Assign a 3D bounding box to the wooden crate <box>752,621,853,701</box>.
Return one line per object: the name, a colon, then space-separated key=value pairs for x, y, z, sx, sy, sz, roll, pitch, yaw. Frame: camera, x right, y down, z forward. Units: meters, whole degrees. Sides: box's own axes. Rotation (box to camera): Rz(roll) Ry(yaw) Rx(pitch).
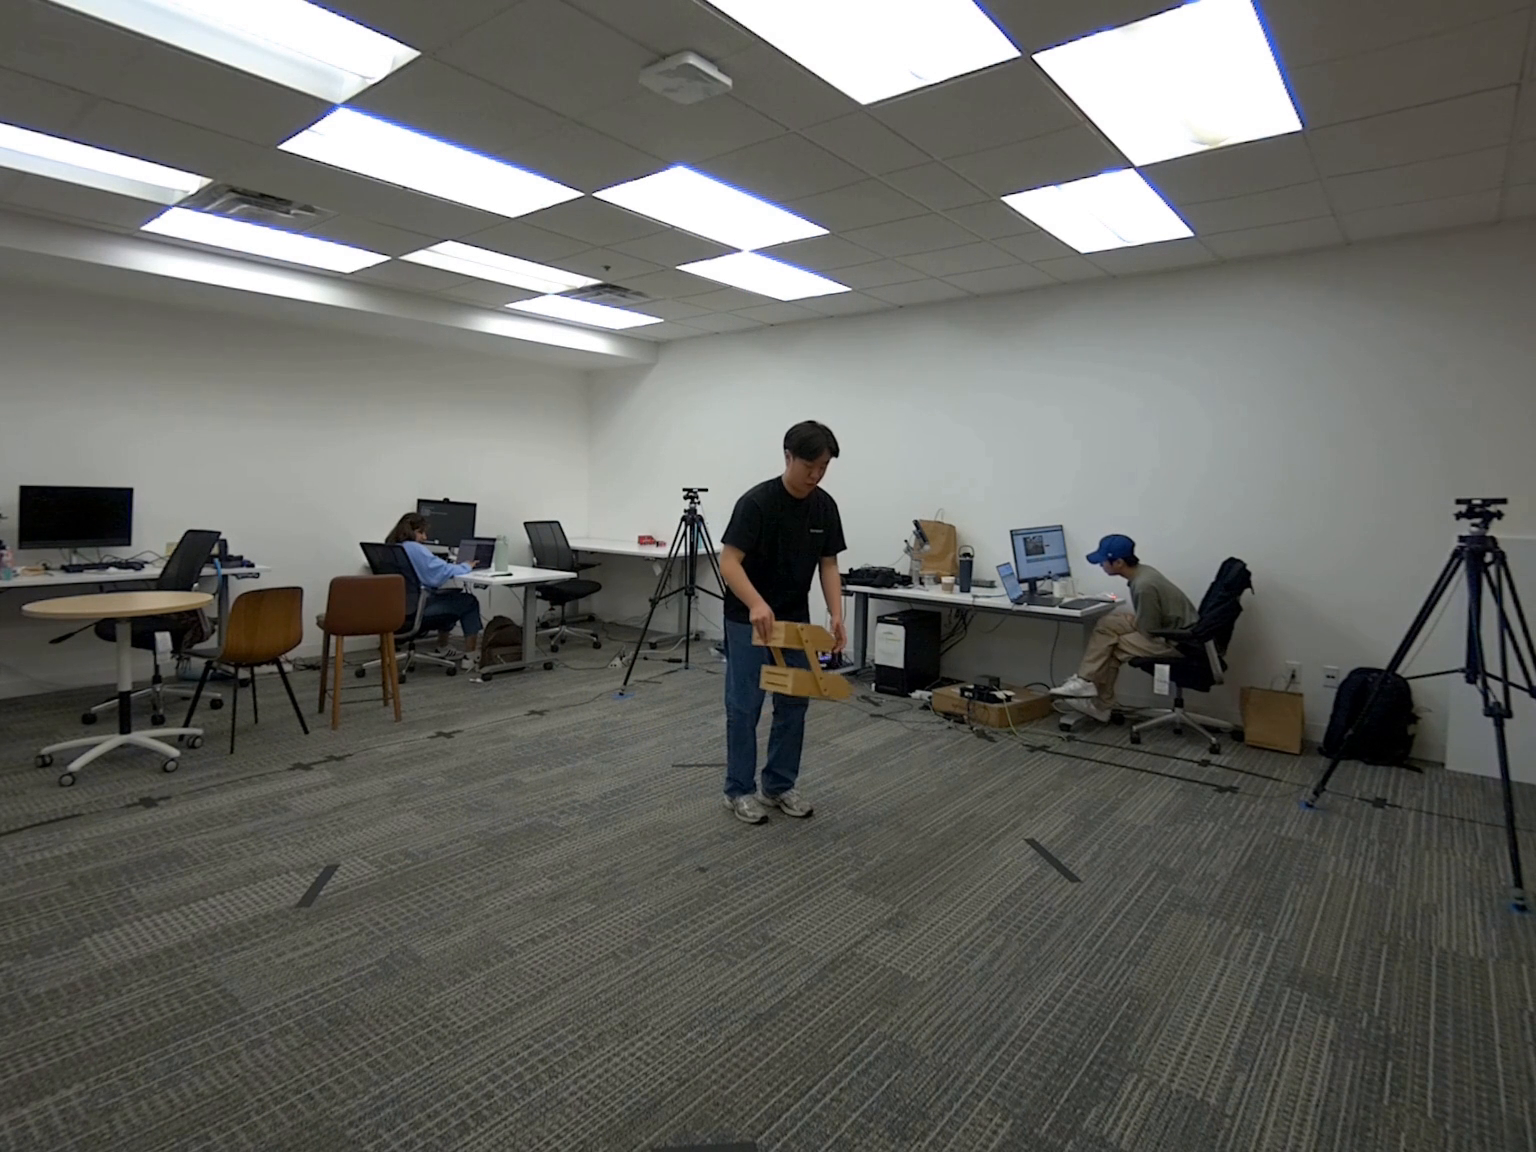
wooden crate: x=0.125 y=0.320 z=3.258 sx=0.295 sy=0.275 sz=0.330 roll=8 pitch=-7 yaw=-22
